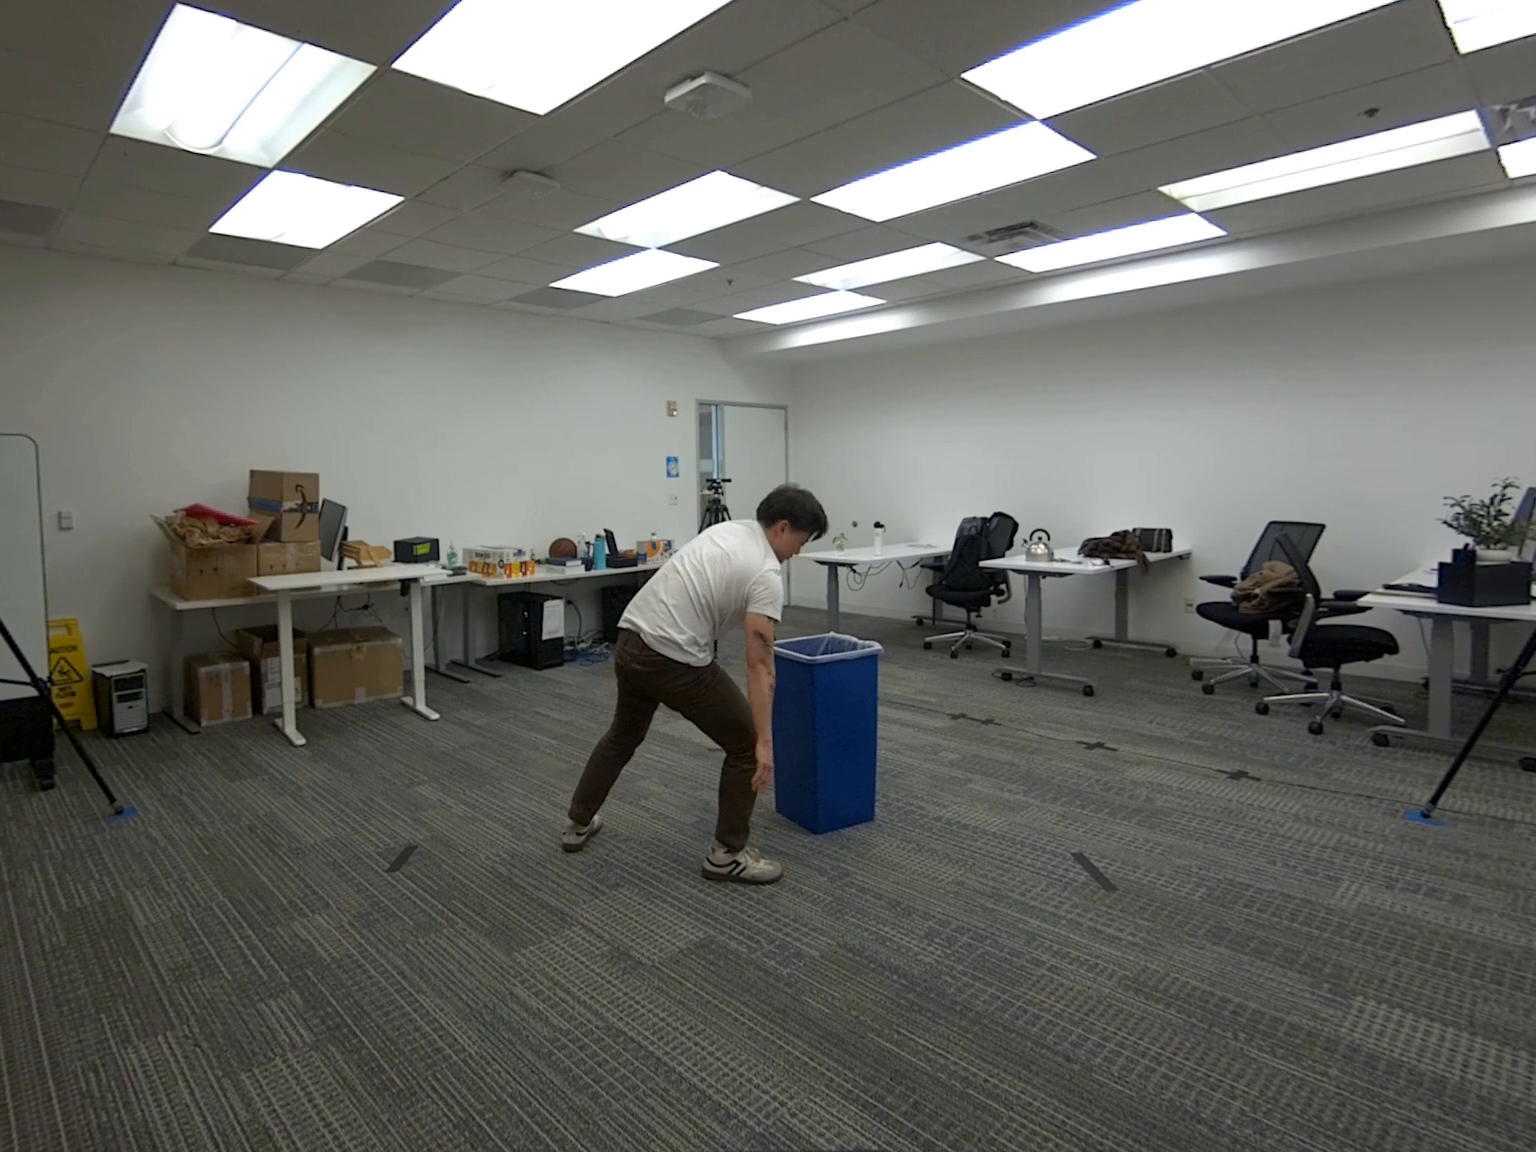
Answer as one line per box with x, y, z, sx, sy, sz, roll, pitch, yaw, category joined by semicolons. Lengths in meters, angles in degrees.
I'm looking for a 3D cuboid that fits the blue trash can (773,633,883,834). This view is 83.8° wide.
0.226;0.634;3.526;0.369;0.710;0.385;-4;5;-32;blue trash can
